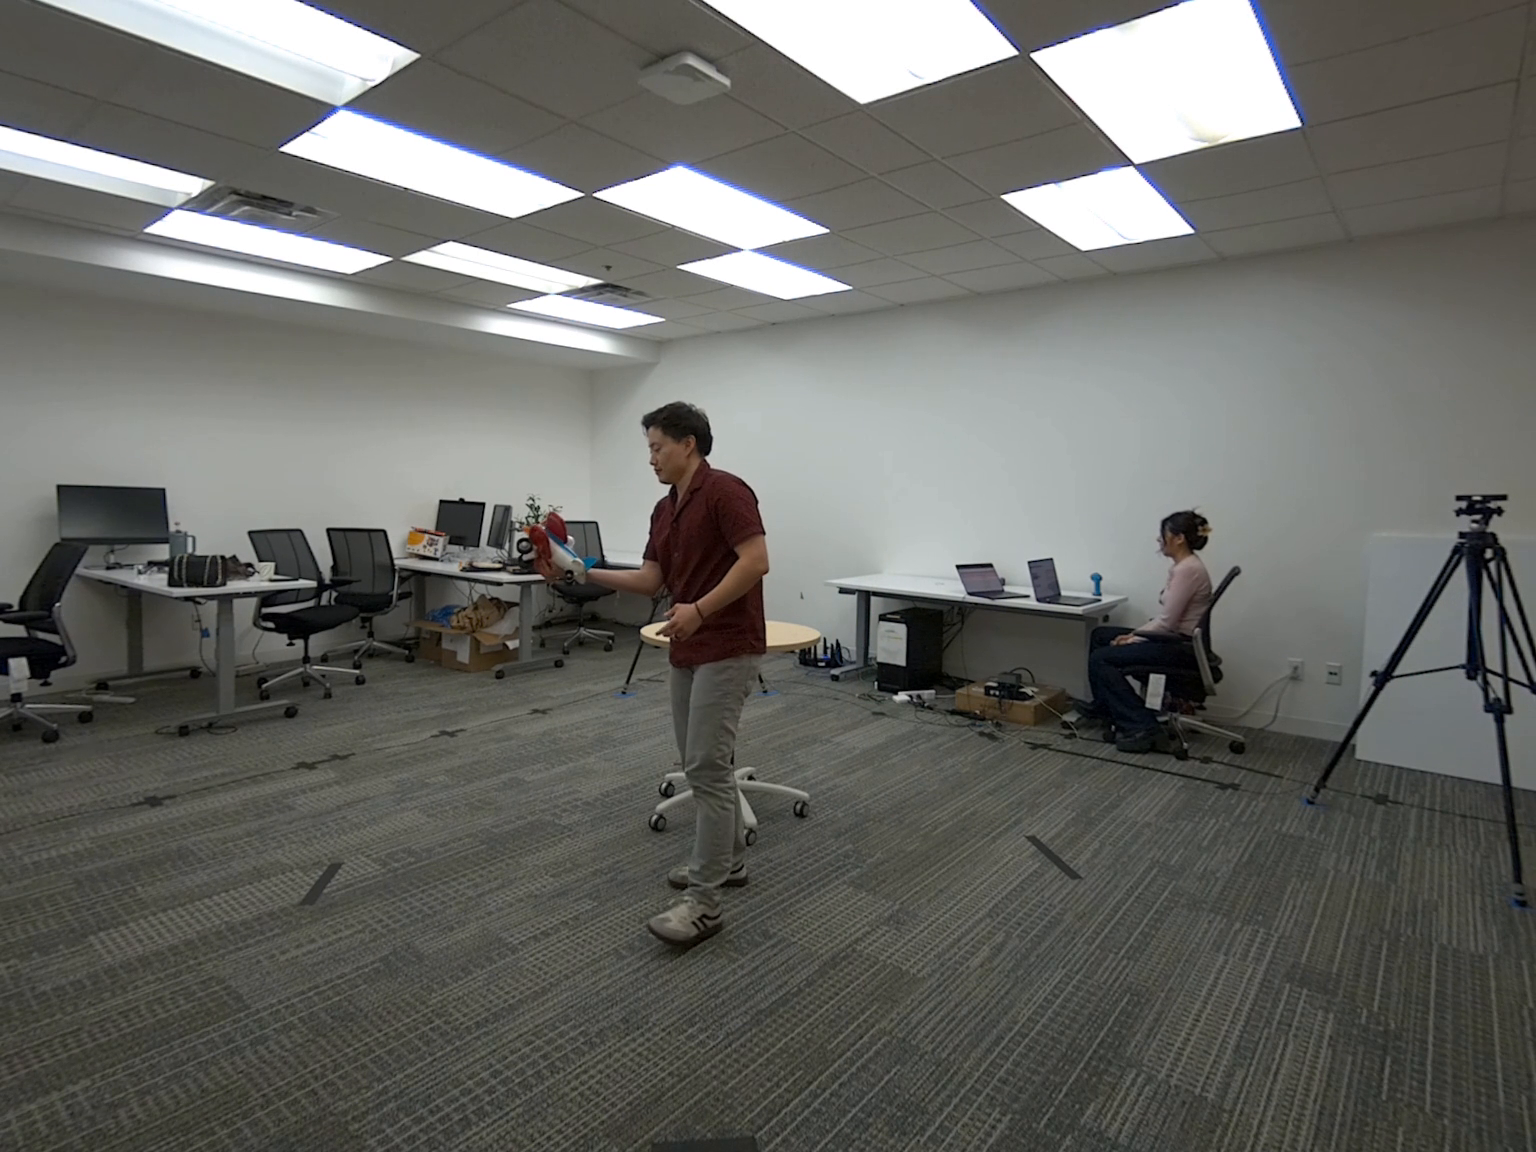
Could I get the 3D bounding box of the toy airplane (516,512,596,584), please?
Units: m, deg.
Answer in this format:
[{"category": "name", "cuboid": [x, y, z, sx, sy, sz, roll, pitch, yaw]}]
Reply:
[{"category": "toy airplane", "cuboid": [-0.725, -0.070, 2.859, 0.255, 0.157, 0.254, 42, -38, -13]}]
